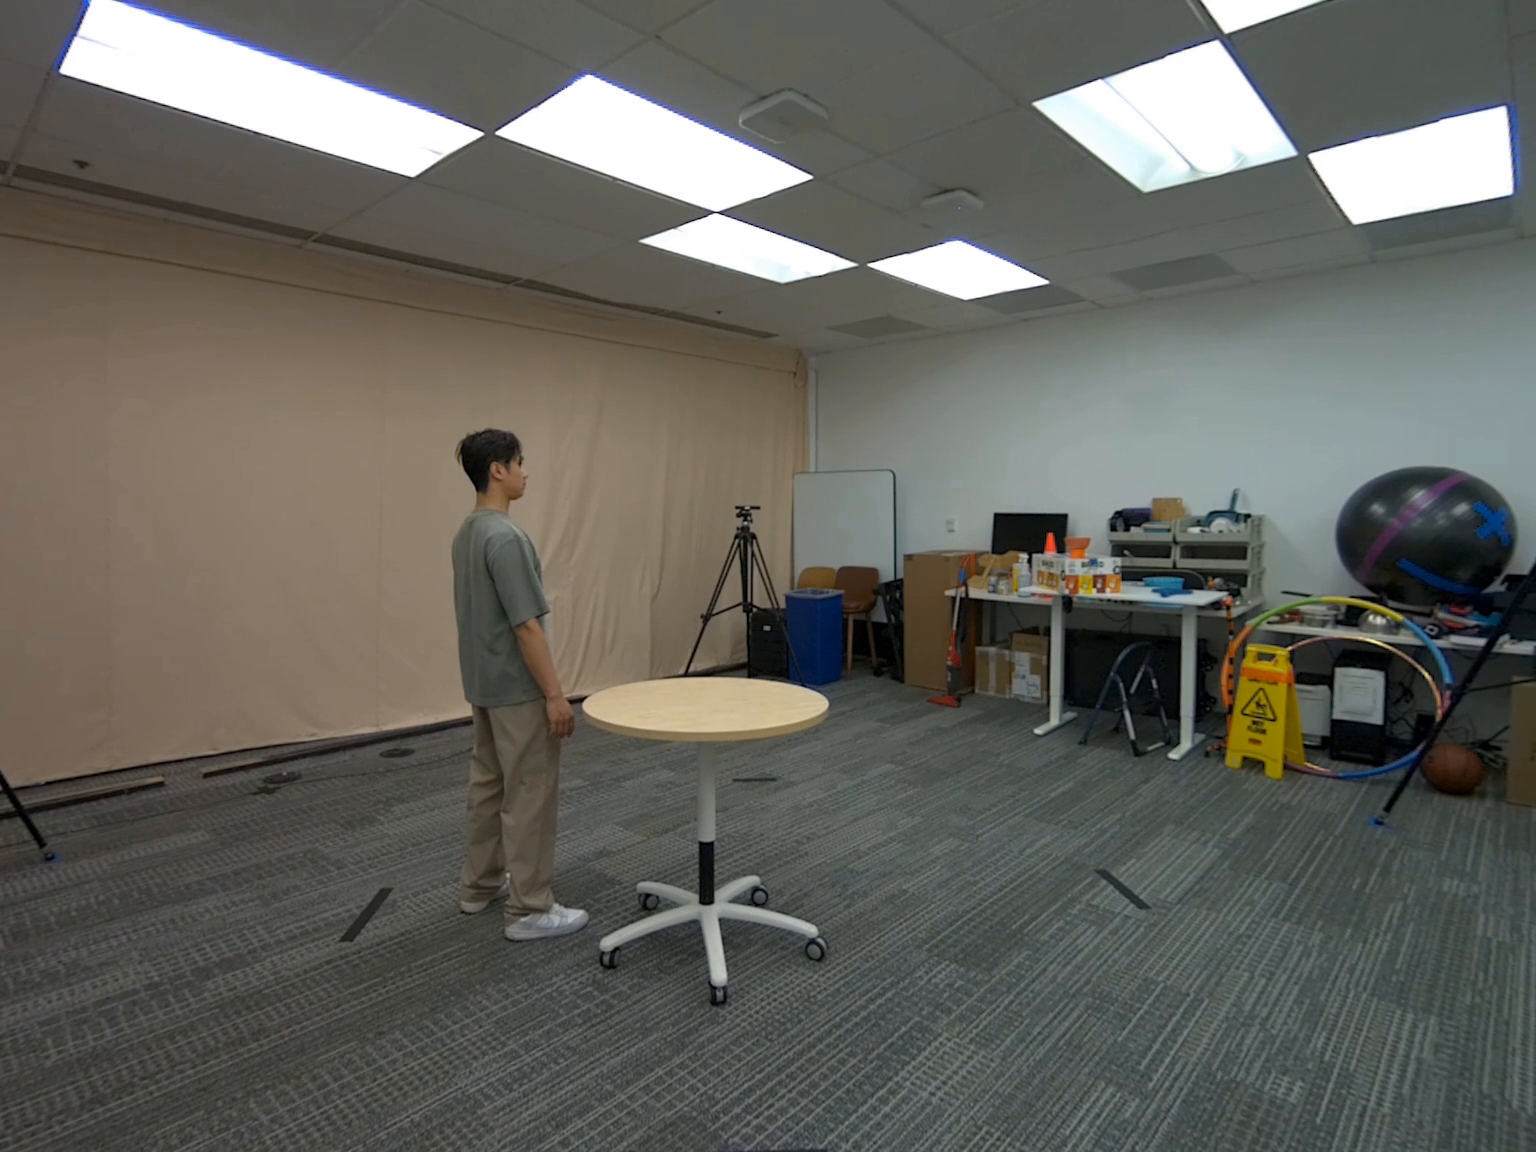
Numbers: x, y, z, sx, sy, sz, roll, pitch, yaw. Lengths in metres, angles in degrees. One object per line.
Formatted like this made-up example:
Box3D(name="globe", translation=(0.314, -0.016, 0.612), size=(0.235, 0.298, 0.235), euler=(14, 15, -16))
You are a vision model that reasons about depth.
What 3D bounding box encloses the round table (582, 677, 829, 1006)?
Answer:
Box3D(name="round table", translation=(-0.189, 0.788, 2.641), size=(0.763, 0.792, 0.767), euler=(0, 4, -2))
